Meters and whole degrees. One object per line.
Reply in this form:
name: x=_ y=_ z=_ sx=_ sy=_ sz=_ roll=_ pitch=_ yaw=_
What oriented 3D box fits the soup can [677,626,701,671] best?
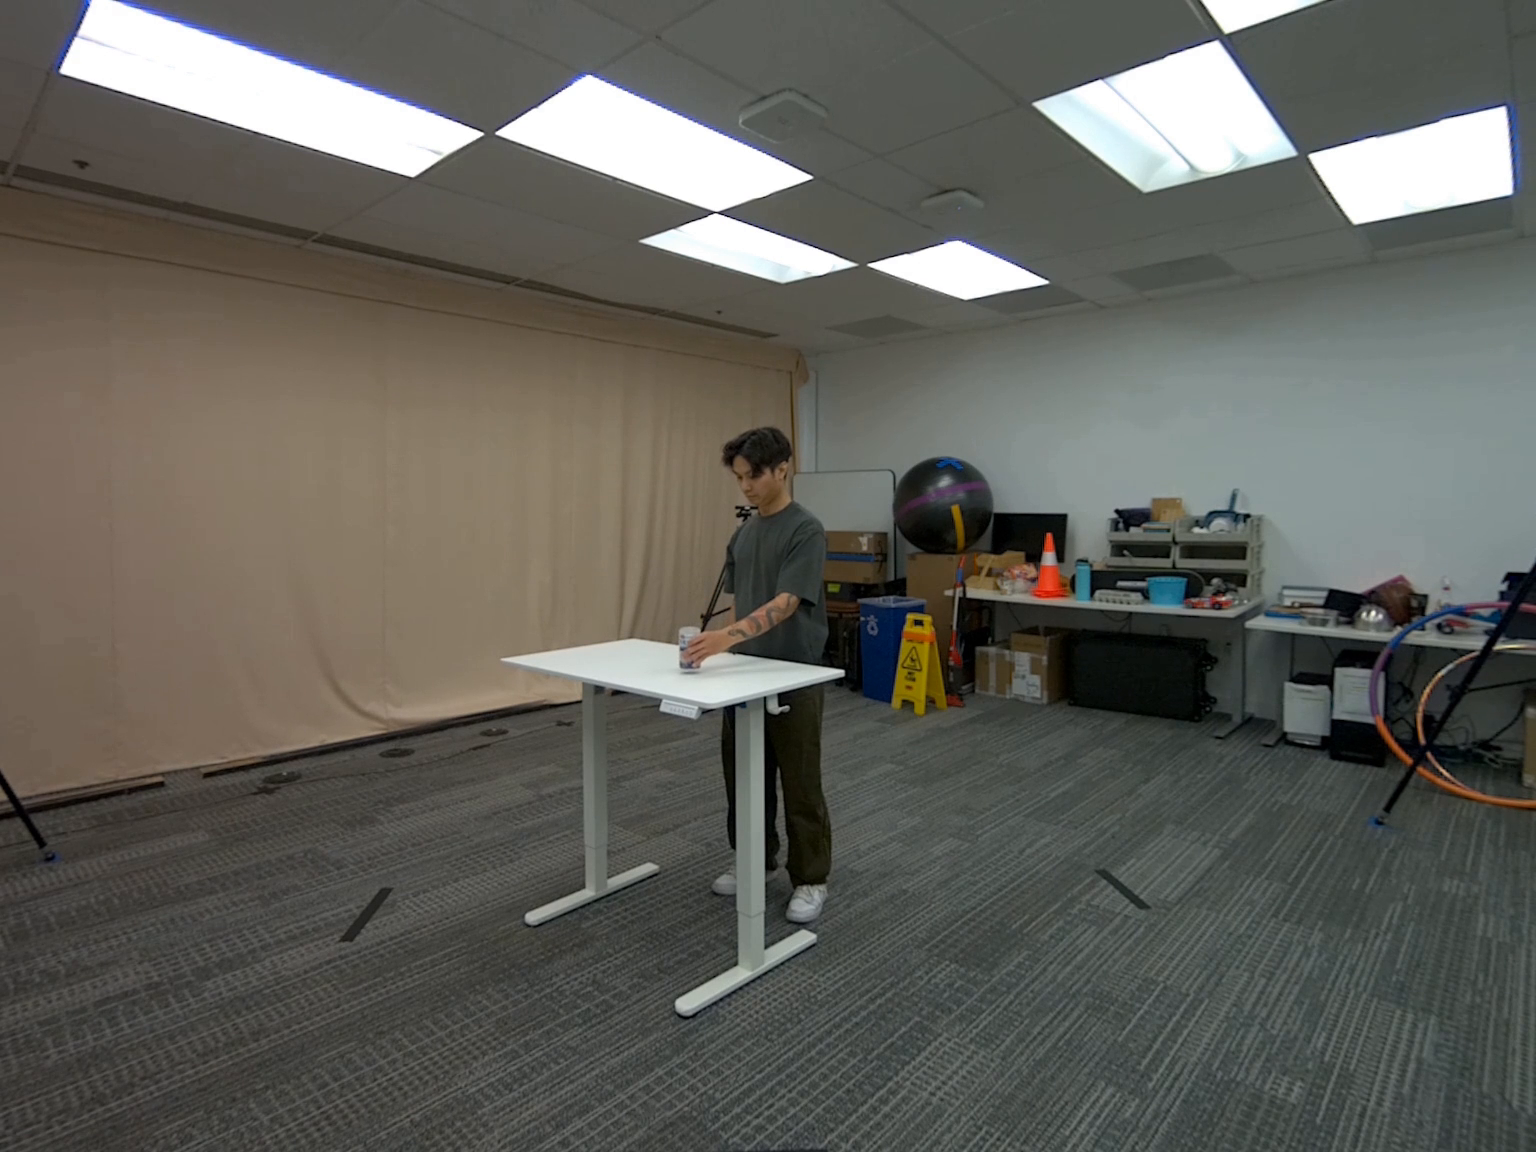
soup can: x=-0.239 y=0.221 z=2.583 sx=0.067 sy=0.121 sz=0.067 roll=1 pitch=-1 yaw=-2
